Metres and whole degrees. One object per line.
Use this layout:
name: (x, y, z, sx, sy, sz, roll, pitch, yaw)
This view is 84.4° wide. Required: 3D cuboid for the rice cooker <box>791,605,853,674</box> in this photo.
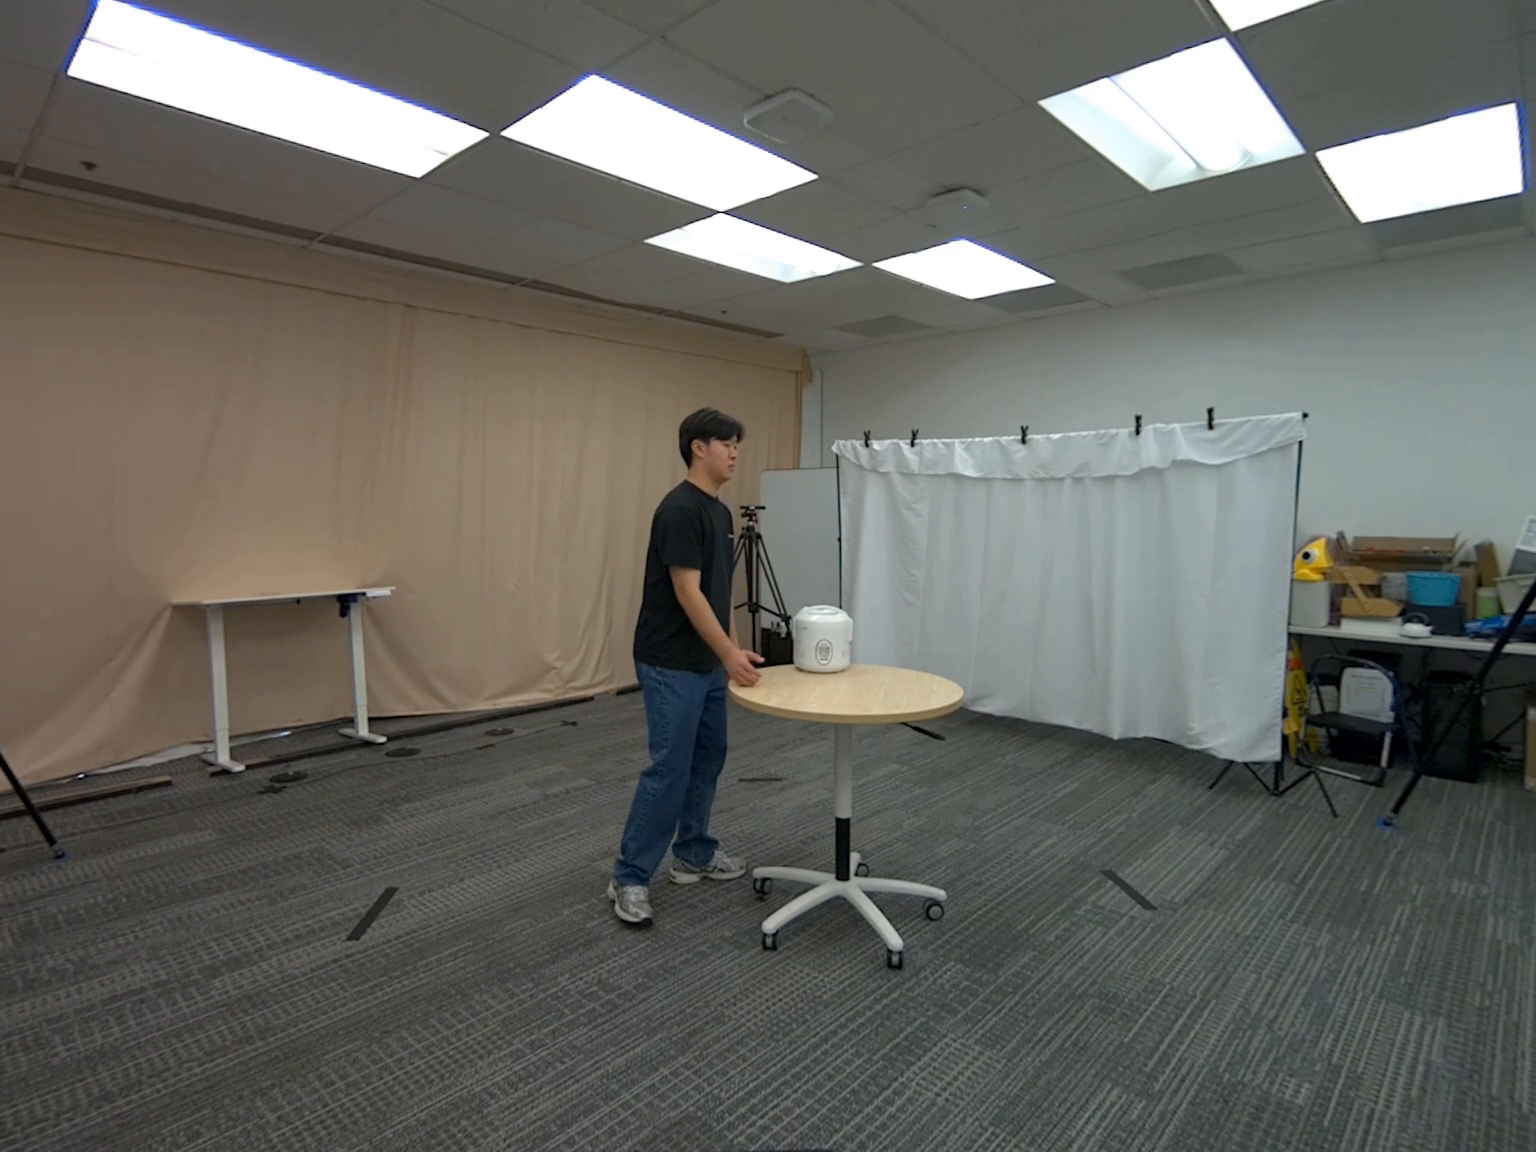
rice cooker: (0.203, 0.221, 3.055, 0.221, 0.232, 0.217, 0, 3, 2)
